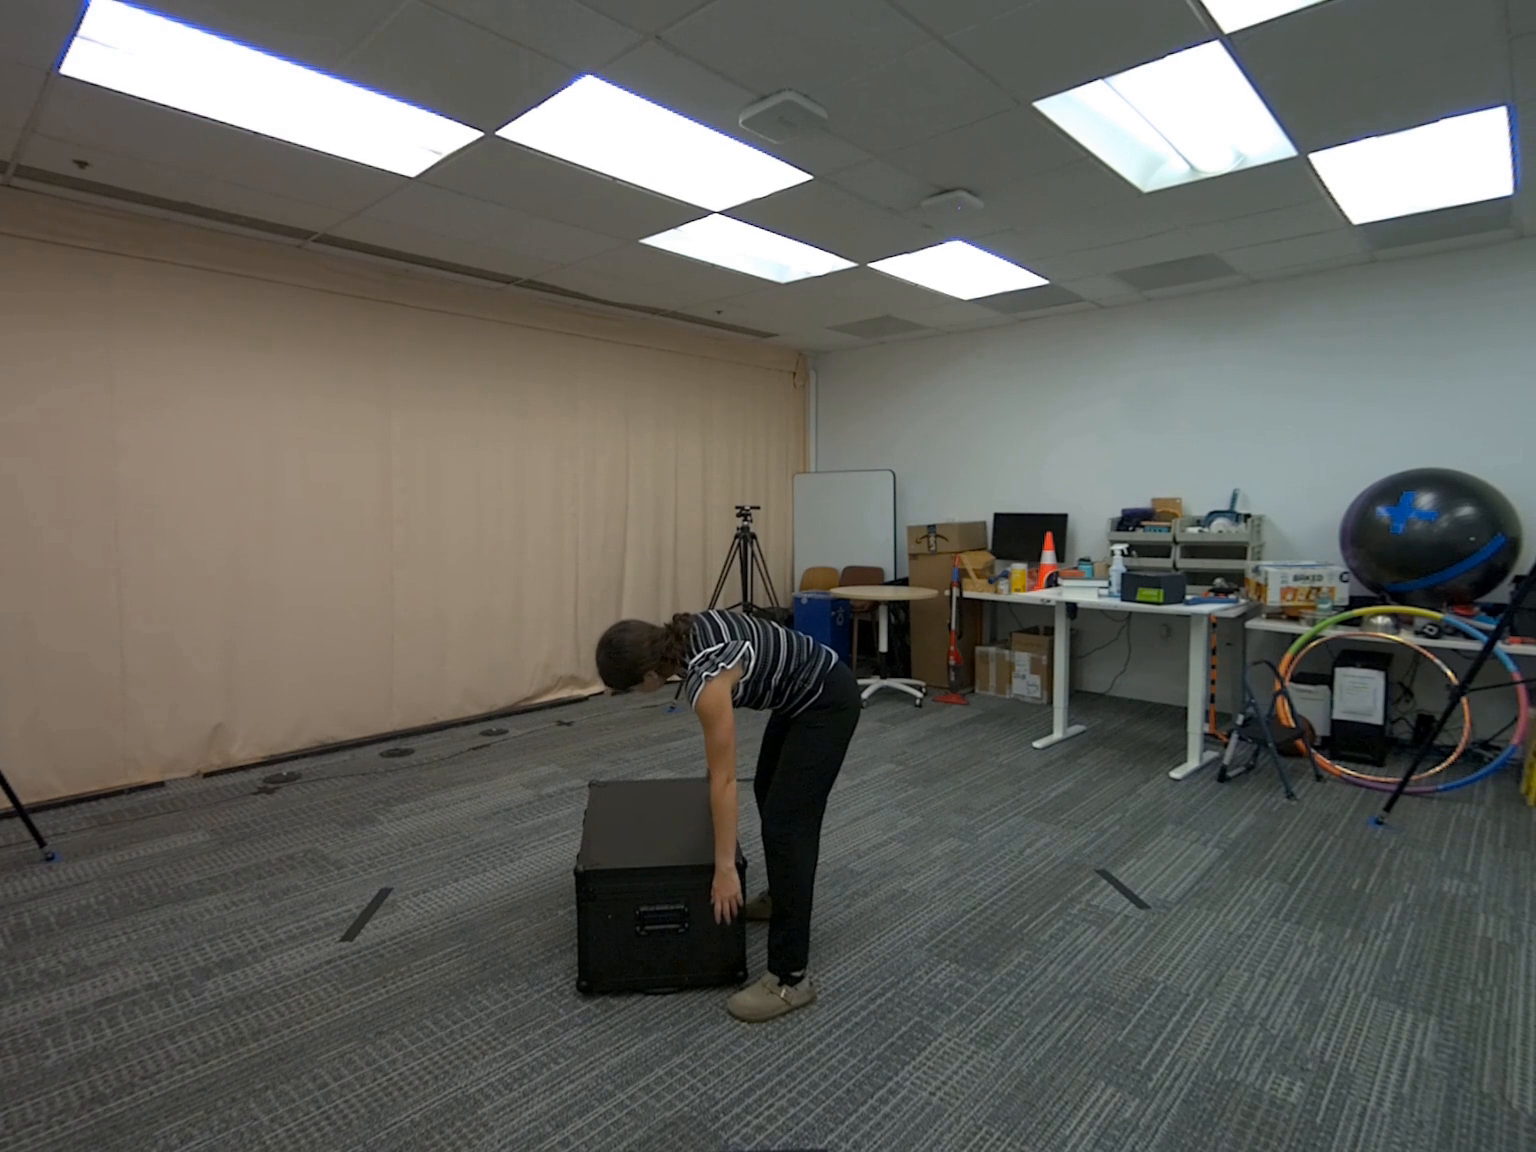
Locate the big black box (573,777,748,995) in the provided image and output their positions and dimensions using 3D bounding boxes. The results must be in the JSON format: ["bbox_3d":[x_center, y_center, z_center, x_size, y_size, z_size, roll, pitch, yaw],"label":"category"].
[{"bbox_3d":[-0.361,0.969,2.806,0.517,0.395,0.871,0,4,-9],"label":"big black box"}]
